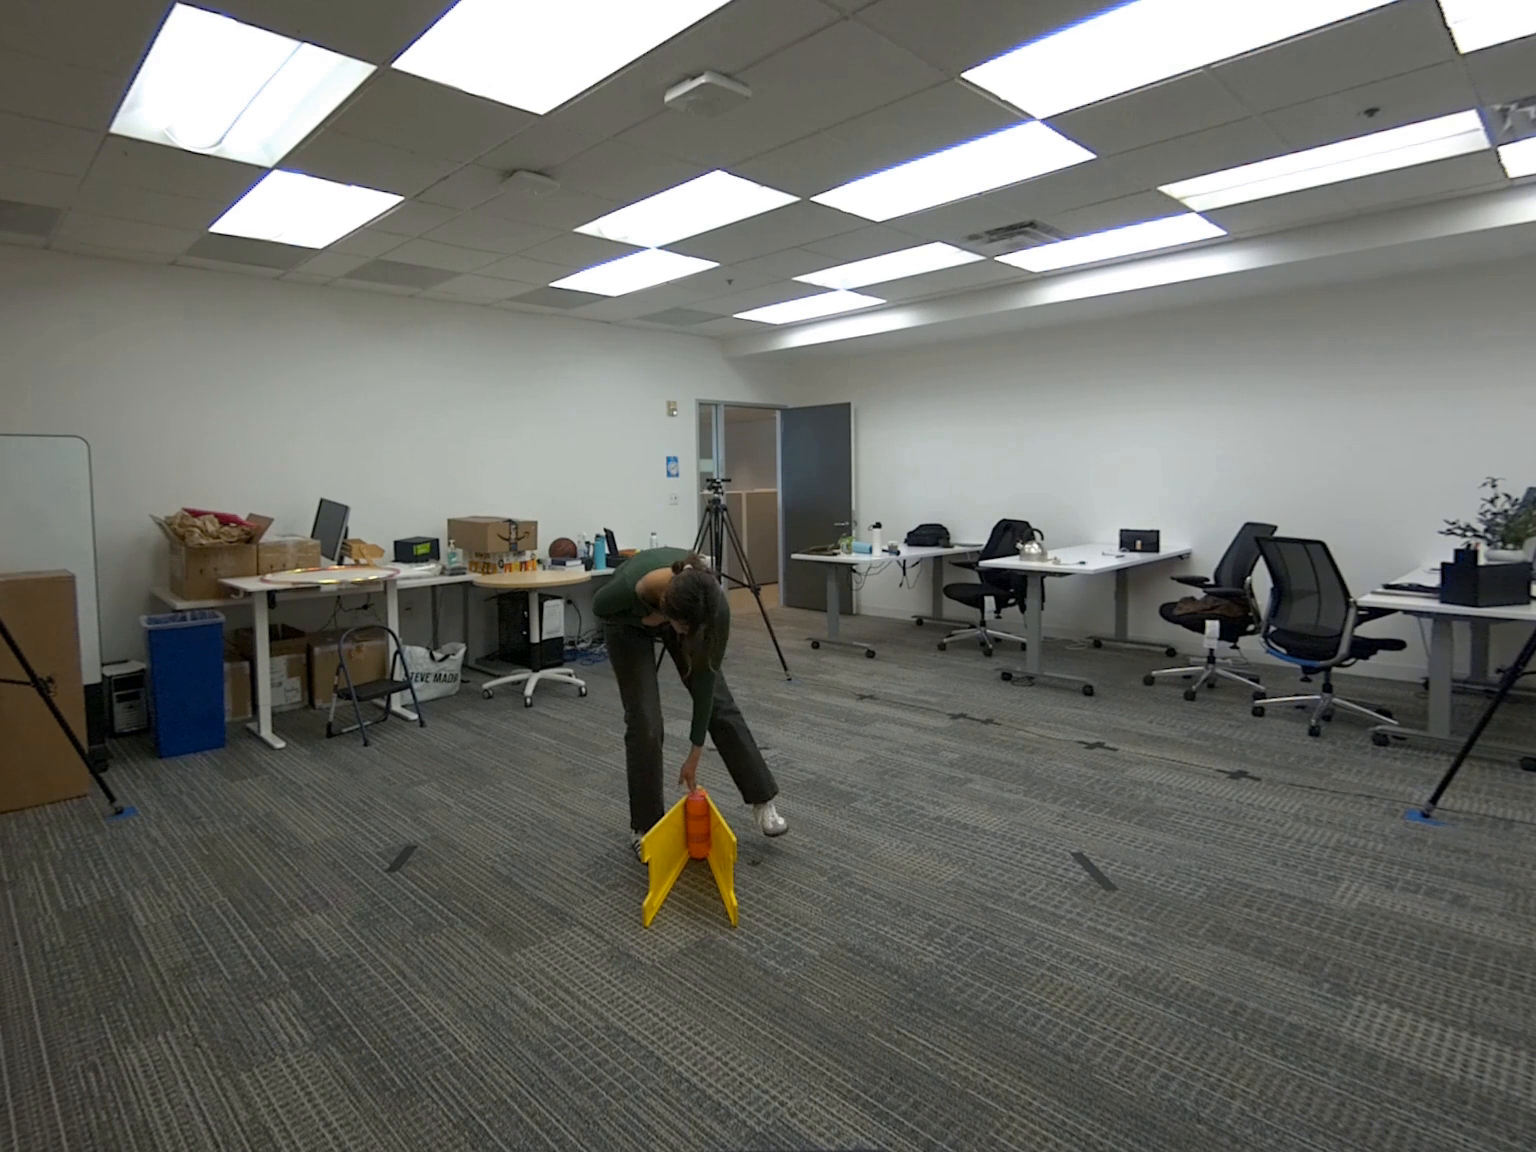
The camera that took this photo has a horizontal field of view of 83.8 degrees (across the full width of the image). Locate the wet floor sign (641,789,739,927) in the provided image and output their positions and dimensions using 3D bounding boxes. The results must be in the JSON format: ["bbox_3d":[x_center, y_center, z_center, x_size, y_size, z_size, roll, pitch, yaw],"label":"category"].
[{"bbox_3d":[-0.255,0.927,2.985,0.290,0.281,0.648,-1,4,-2],"label":"wet floor sign"}]
